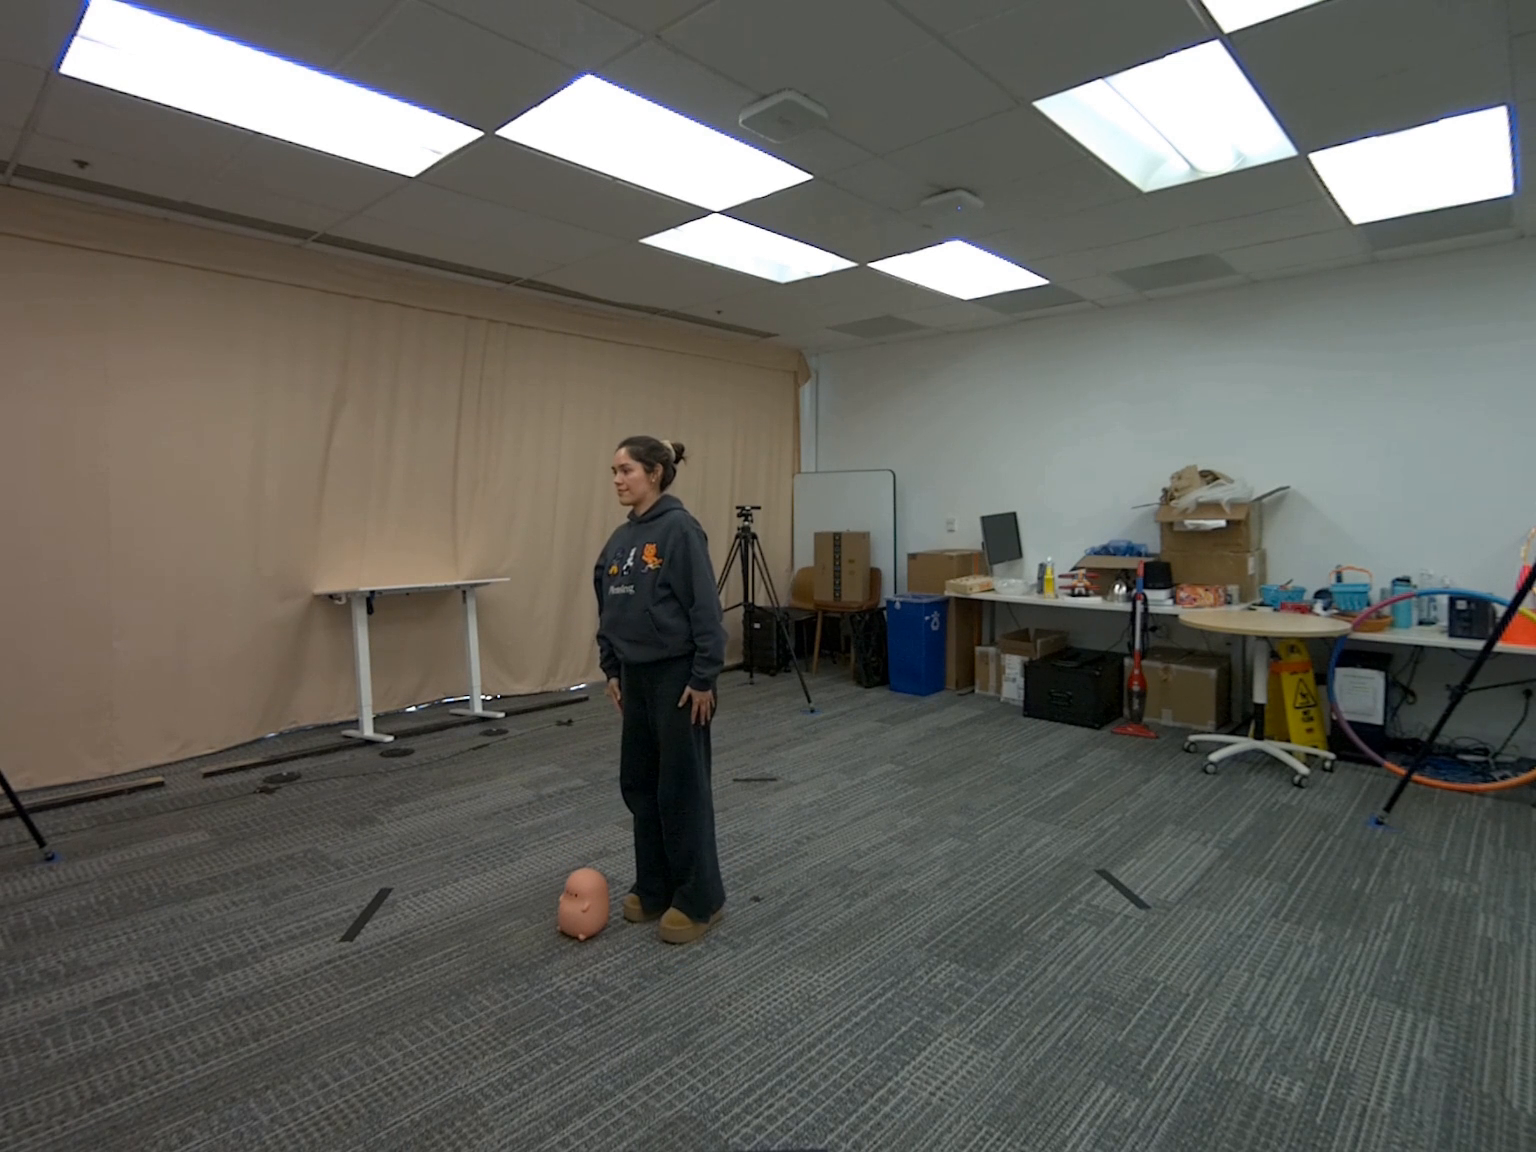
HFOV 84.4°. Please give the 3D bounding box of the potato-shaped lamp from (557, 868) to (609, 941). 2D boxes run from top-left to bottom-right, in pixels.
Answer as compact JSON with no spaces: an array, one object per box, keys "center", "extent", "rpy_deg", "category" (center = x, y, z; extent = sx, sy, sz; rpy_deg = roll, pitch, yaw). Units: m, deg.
[{"center":[-0.585,1.076,2.771],"extent":[0.170,0.197,0.167],"rpy_deg":[1,7,35],"category":"potato-shaped lamp"}]
